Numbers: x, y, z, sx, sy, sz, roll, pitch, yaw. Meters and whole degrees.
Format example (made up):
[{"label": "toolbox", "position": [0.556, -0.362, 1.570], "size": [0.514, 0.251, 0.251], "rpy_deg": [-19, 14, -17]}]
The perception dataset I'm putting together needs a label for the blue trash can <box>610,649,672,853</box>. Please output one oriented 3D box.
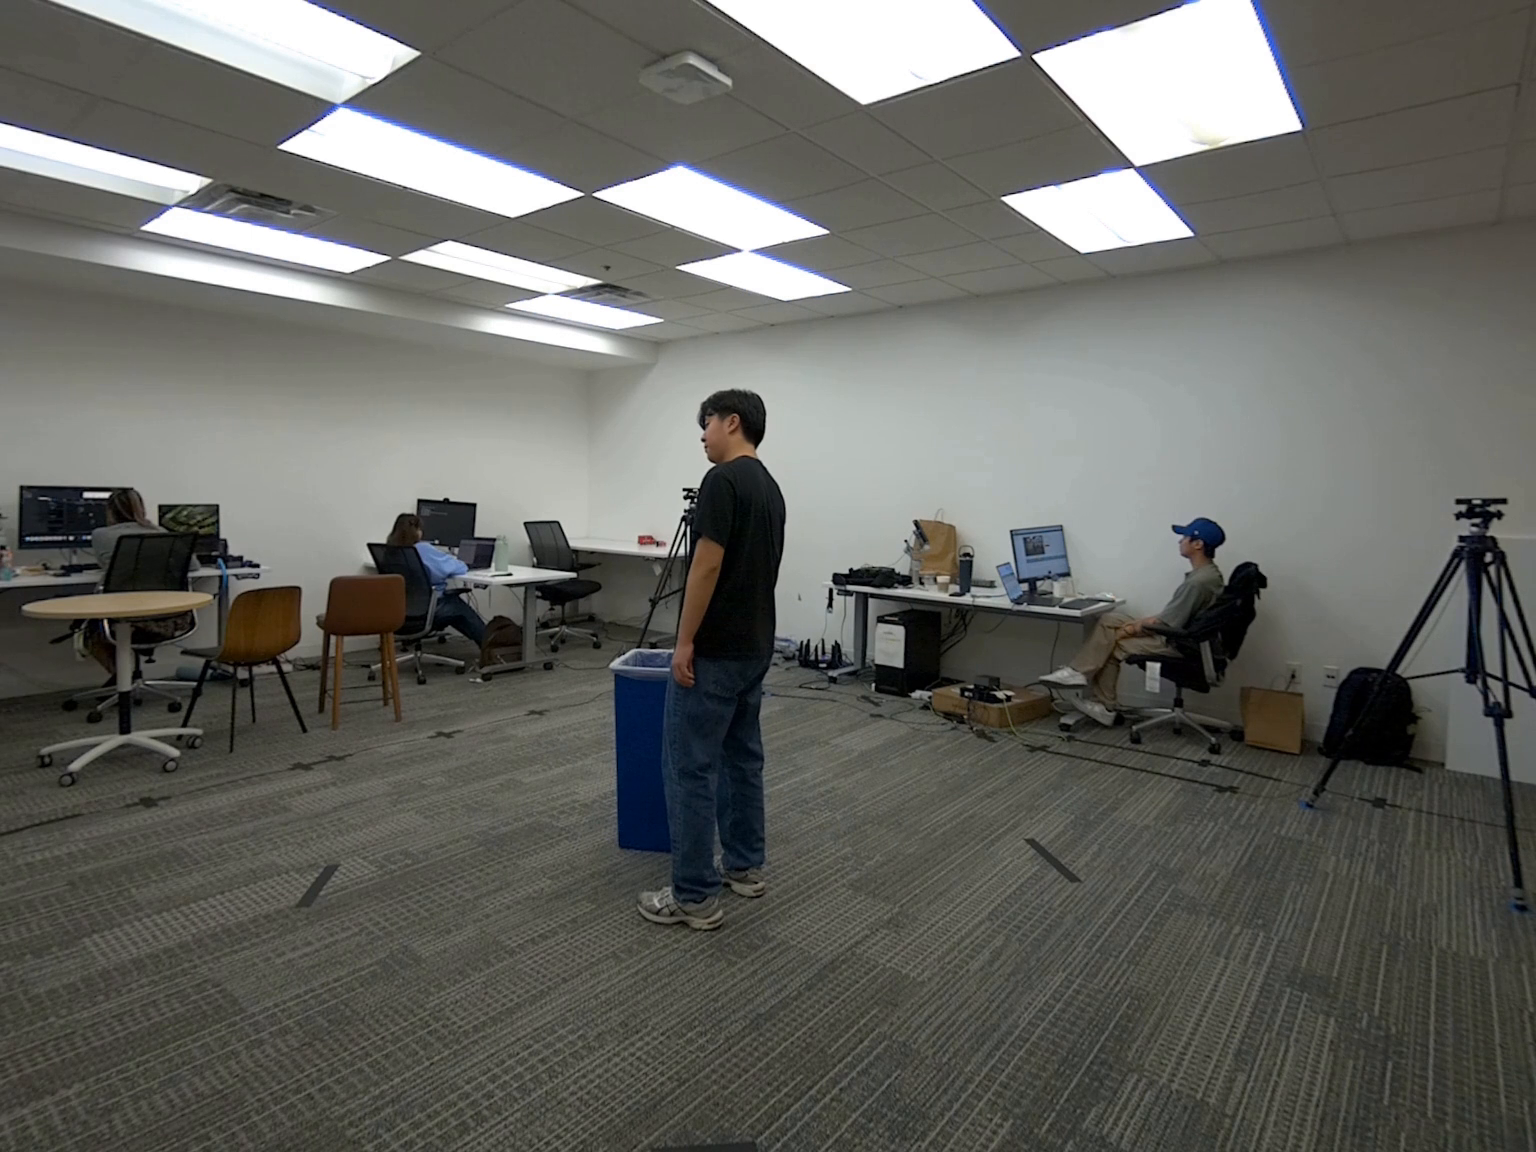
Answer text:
[{"label": "blue trash can", "position": [-0.428, 0.681, 3.392], "size": [0.382, 0.711, 0.372], "rpy_deg": [1, 4, 8]}]
